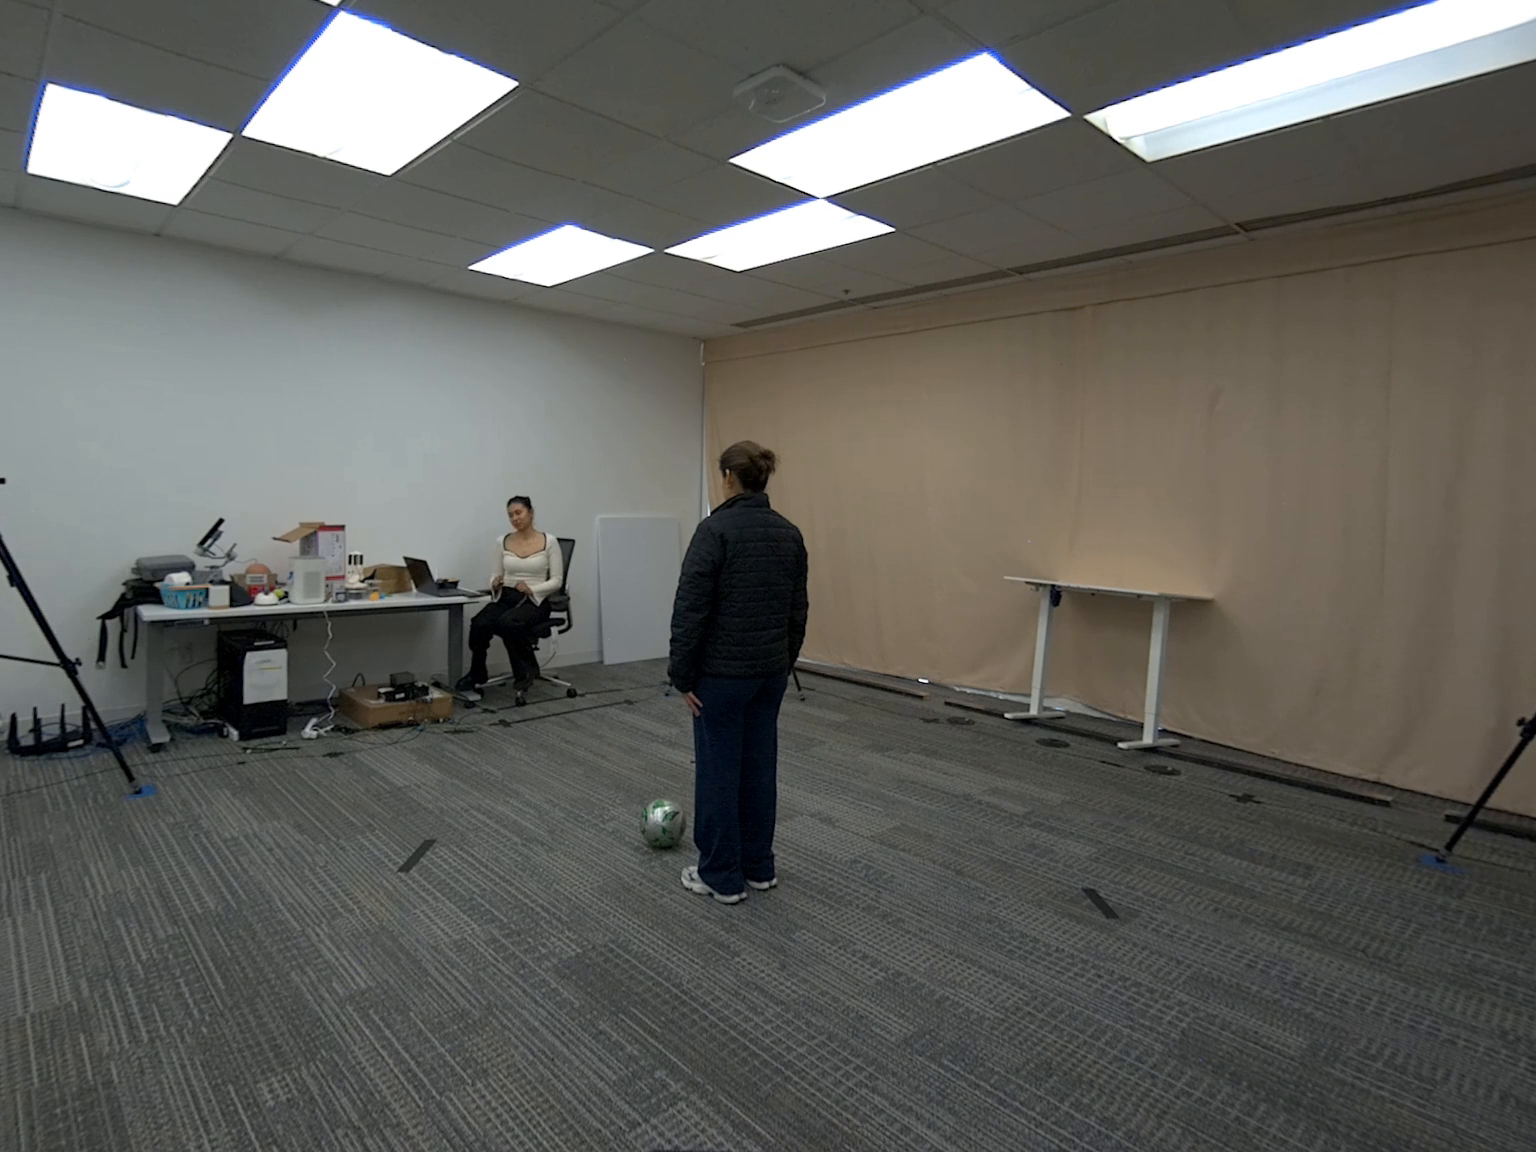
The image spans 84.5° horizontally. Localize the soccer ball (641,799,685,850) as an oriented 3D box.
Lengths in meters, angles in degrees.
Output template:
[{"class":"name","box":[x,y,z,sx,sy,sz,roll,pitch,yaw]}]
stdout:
[{"class":"soccer ball","box":[-0.427,0.985,3.352,0.187,0.187,0.188,1,4,-1]}]
